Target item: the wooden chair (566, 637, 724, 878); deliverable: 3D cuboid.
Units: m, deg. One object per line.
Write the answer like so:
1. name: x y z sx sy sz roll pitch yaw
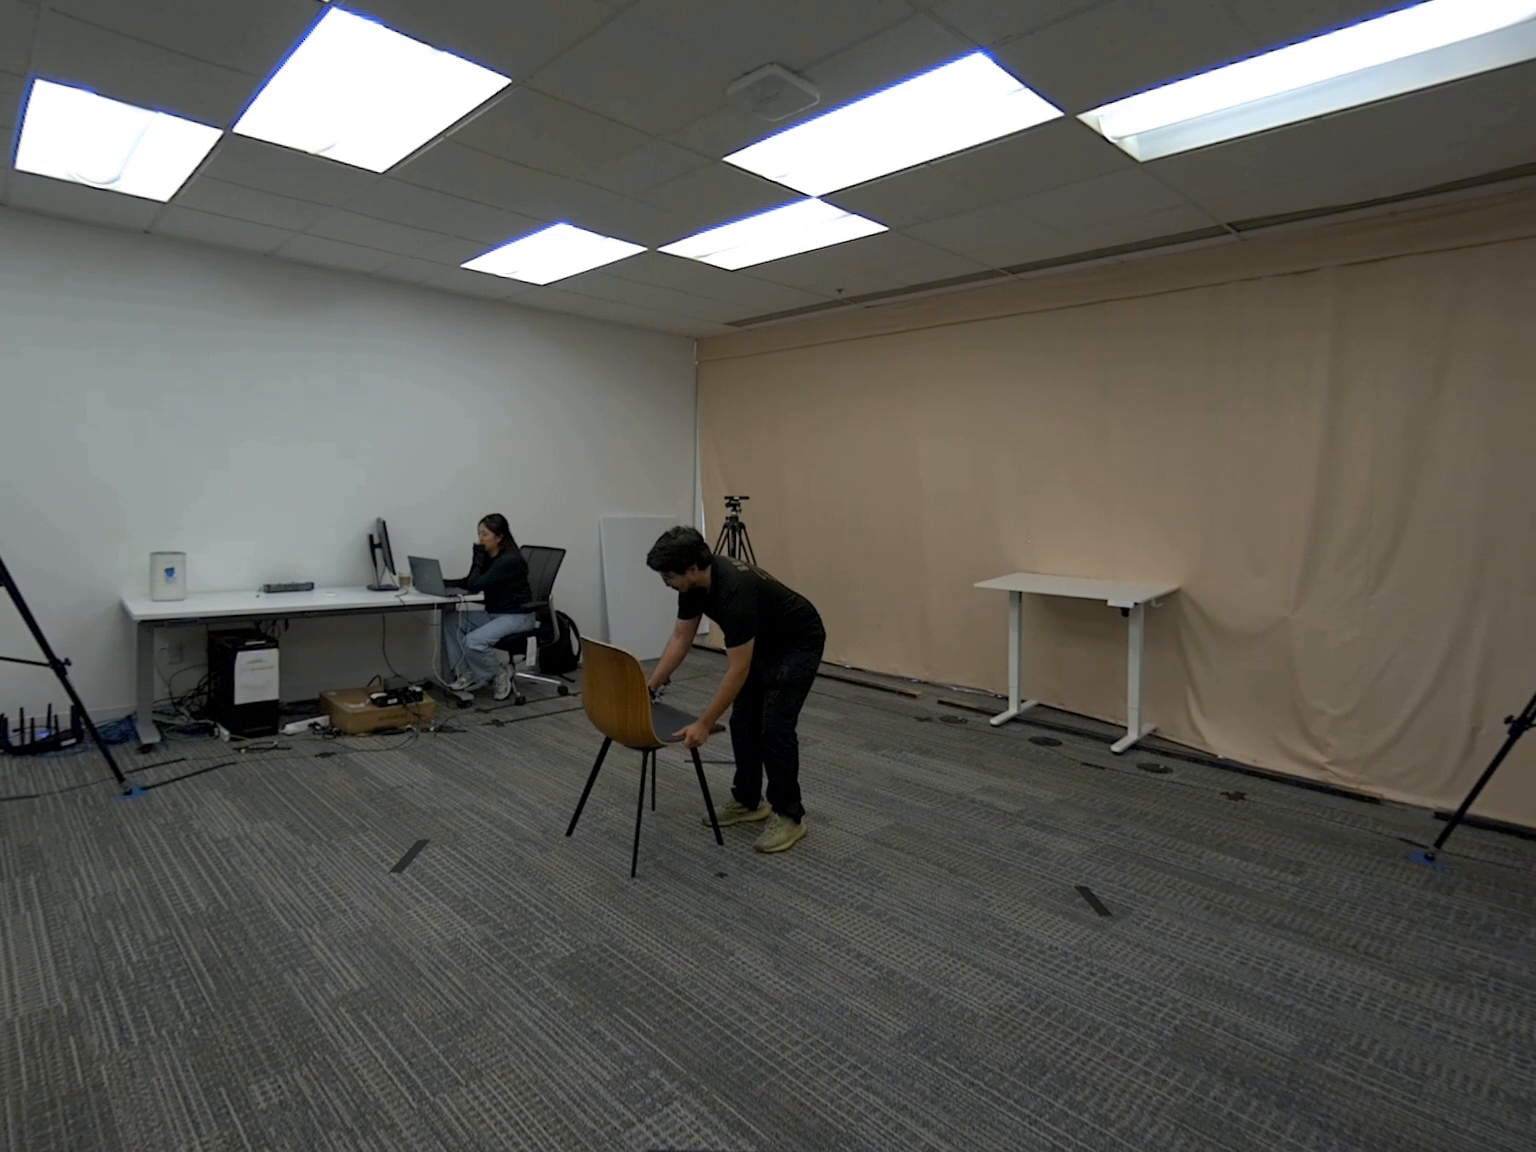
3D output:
1. wooden chair: -0.460 0.636 3.335 0.512 0.872 0.491 -7 11 -43
